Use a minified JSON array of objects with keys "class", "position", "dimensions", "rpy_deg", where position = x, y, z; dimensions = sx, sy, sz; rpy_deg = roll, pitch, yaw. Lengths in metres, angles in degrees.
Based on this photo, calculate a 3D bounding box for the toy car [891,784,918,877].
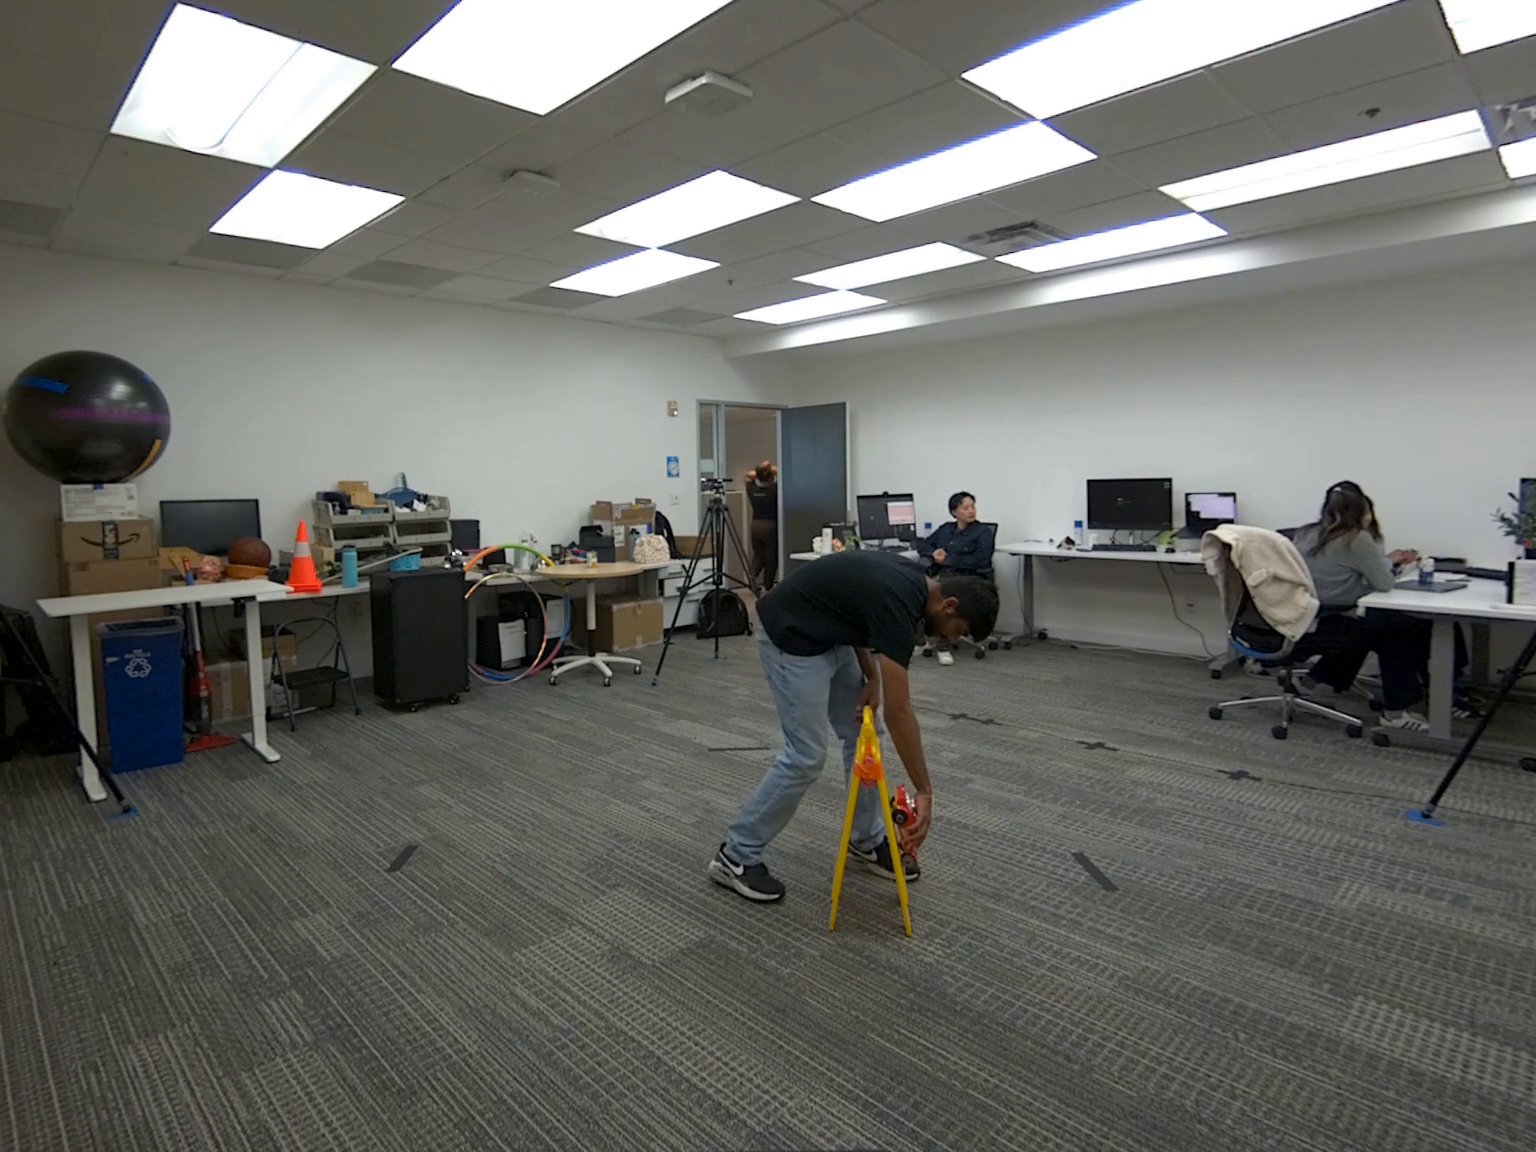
[{"class":"toy car","position":[0.414,0.784,2.706],"dimensions":[0.083,0.252,0.131],"rpy_deg":[1,12,4]}]
